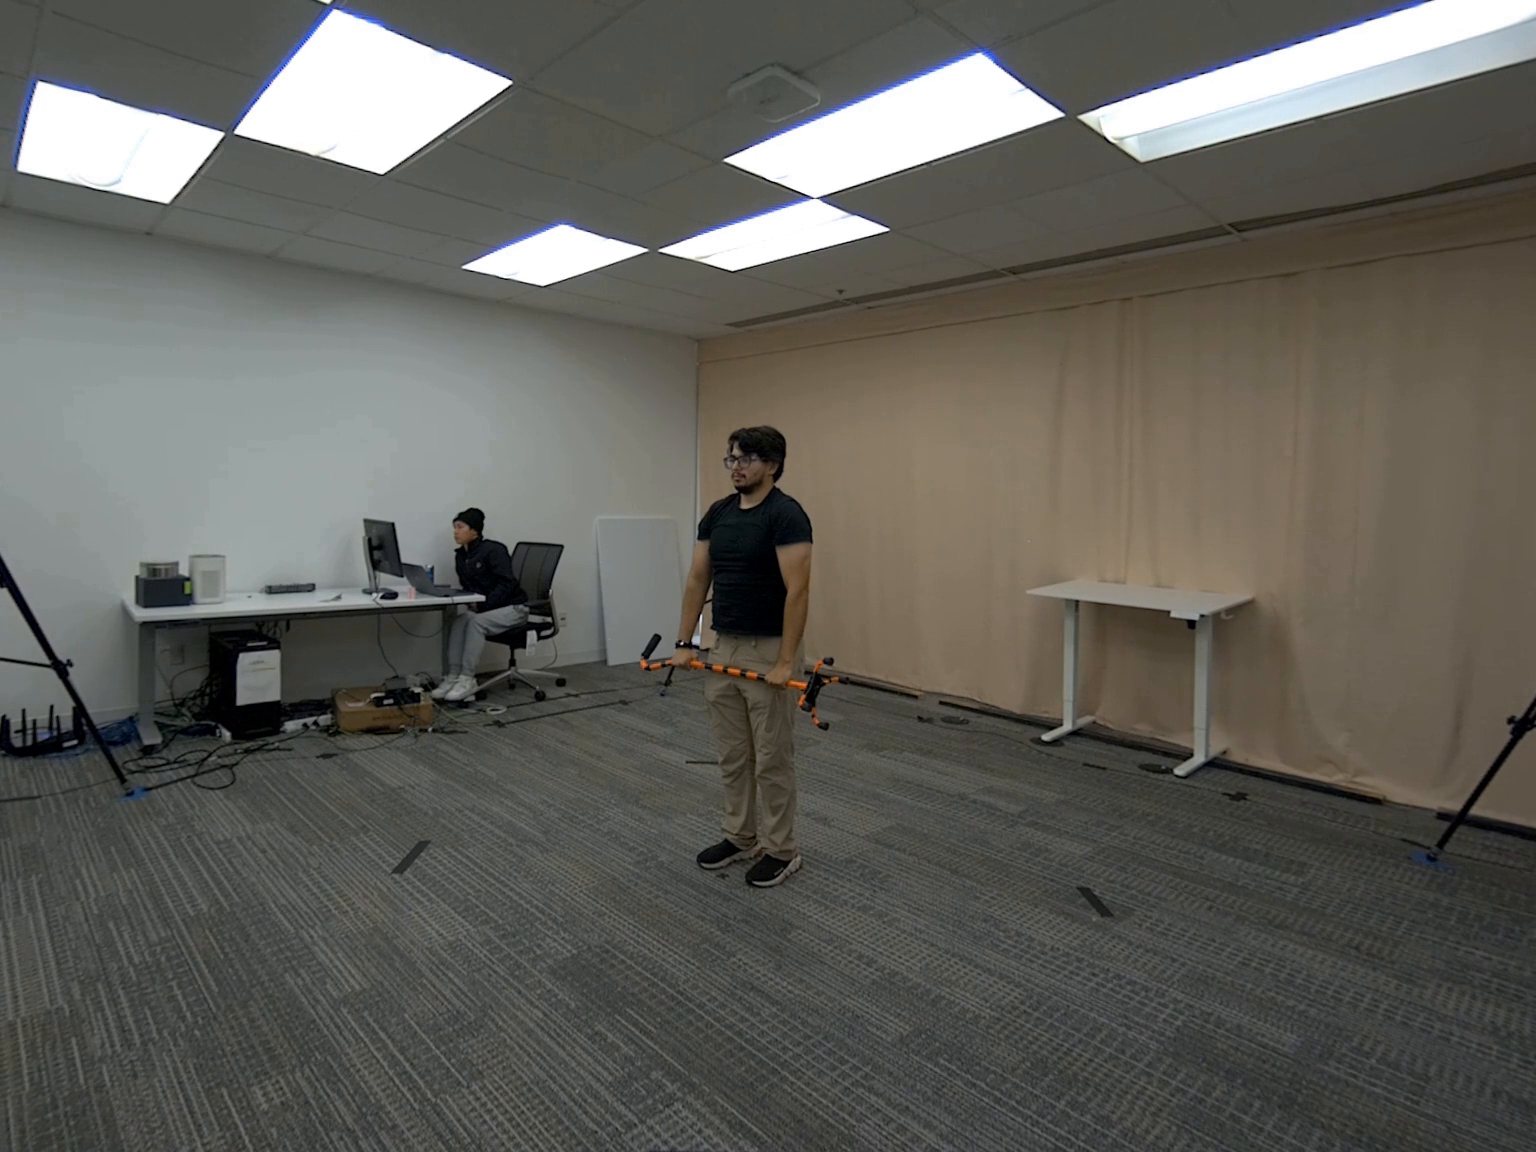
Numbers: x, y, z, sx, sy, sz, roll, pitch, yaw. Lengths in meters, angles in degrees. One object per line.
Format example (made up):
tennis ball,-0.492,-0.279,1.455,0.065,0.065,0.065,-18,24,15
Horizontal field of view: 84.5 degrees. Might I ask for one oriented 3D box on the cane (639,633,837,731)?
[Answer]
cane,-0.160,0.357,3.077,0.931,0.207,0.147,6,-35,42
